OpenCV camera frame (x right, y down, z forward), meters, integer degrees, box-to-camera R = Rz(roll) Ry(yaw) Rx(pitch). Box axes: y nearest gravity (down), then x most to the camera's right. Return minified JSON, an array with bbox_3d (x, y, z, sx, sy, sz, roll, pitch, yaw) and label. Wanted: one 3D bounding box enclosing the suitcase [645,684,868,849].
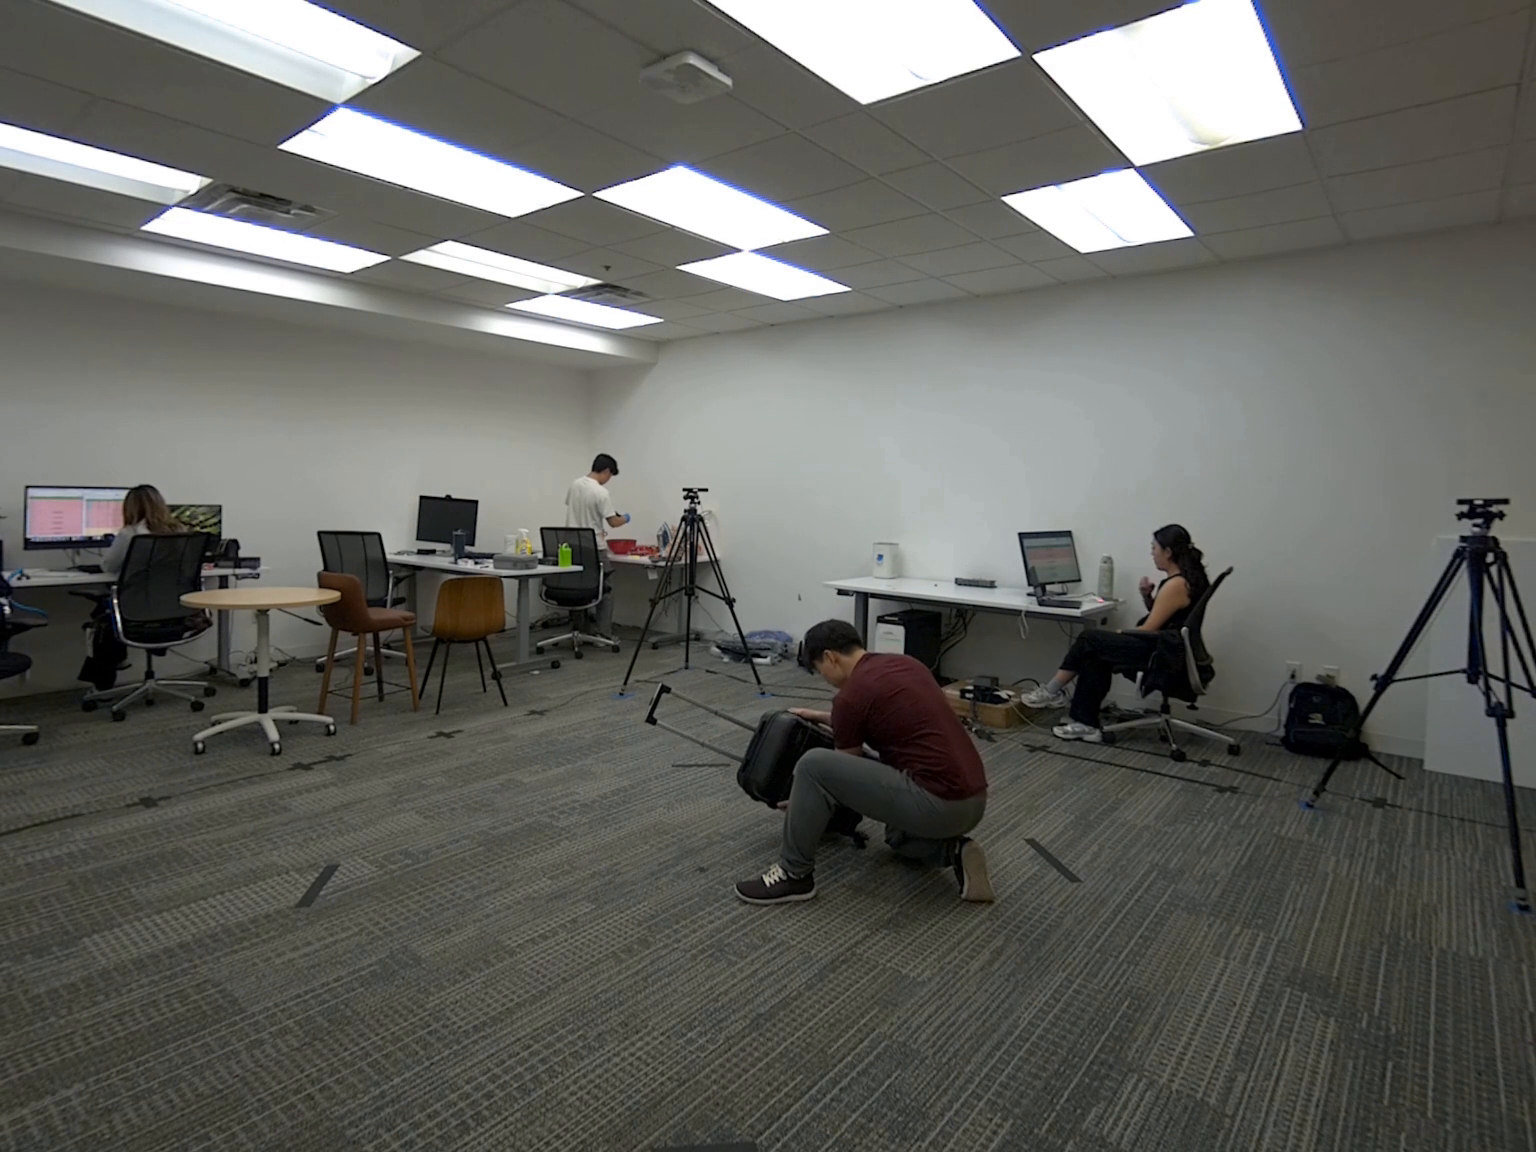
[{"bbox_3d":[-0.008,0.690,3.341,0.953,0.386,0.262,28,-11,-20],"label":"suitcase"}]
